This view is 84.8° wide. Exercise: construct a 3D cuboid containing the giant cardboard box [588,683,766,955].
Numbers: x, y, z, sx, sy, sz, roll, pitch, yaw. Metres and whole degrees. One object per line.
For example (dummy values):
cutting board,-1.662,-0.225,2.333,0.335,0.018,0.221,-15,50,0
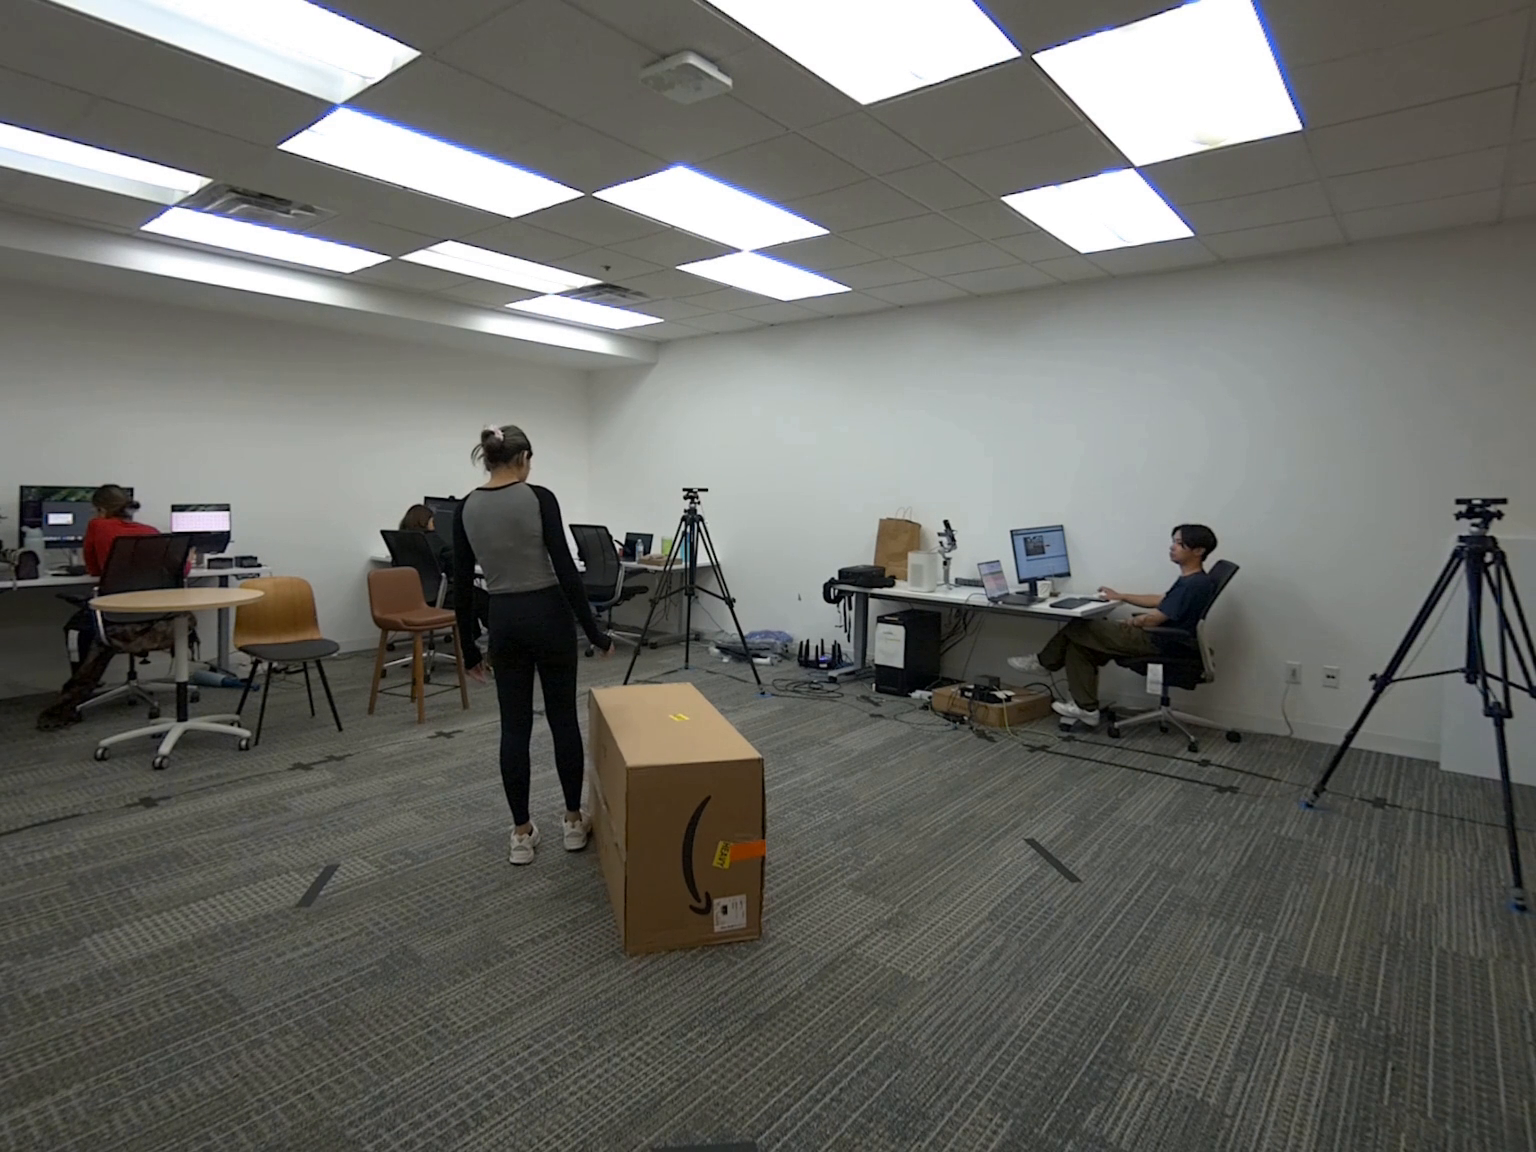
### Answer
giant cardboard box,-0.378,0.782,3.044,0.419,0.575,1.047,-1,5,-18
